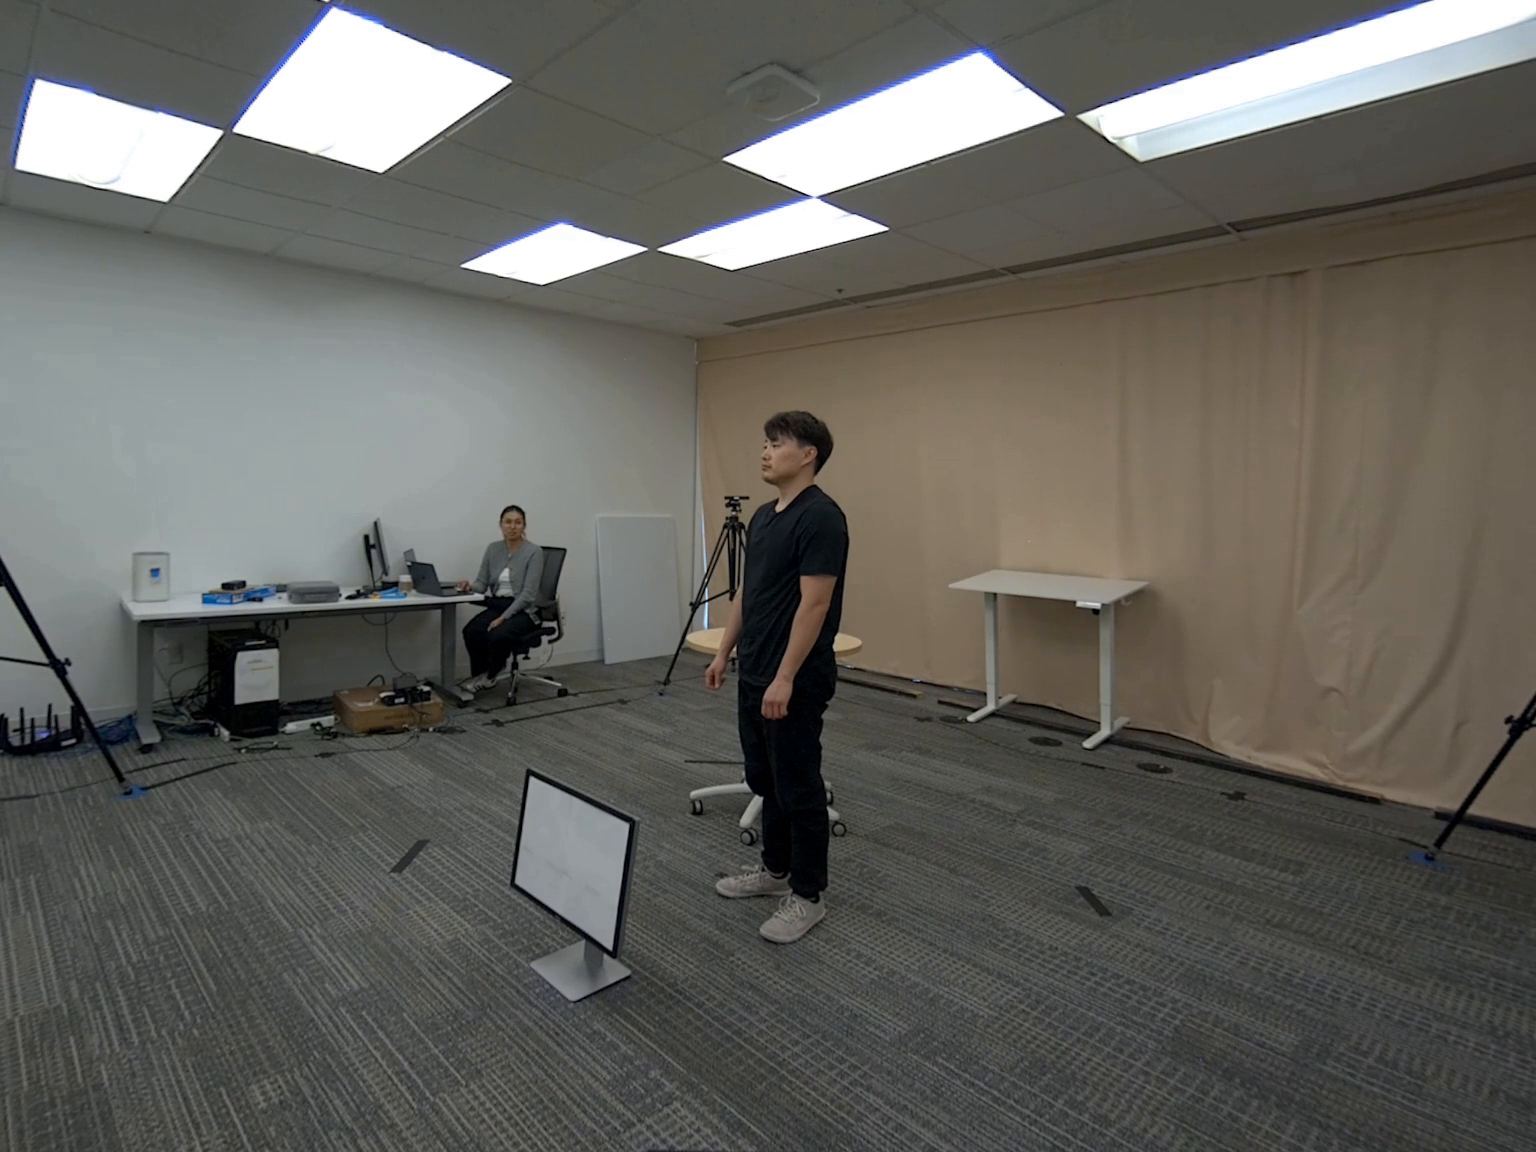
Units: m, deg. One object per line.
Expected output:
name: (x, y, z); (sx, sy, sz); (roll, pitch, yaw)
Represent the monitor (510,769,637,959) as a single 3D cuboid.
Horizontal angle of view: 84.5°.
monitor: (-0.548, 0.896, 2.426); (0.553, 0.520, 0.183); (5, 8, 44)
